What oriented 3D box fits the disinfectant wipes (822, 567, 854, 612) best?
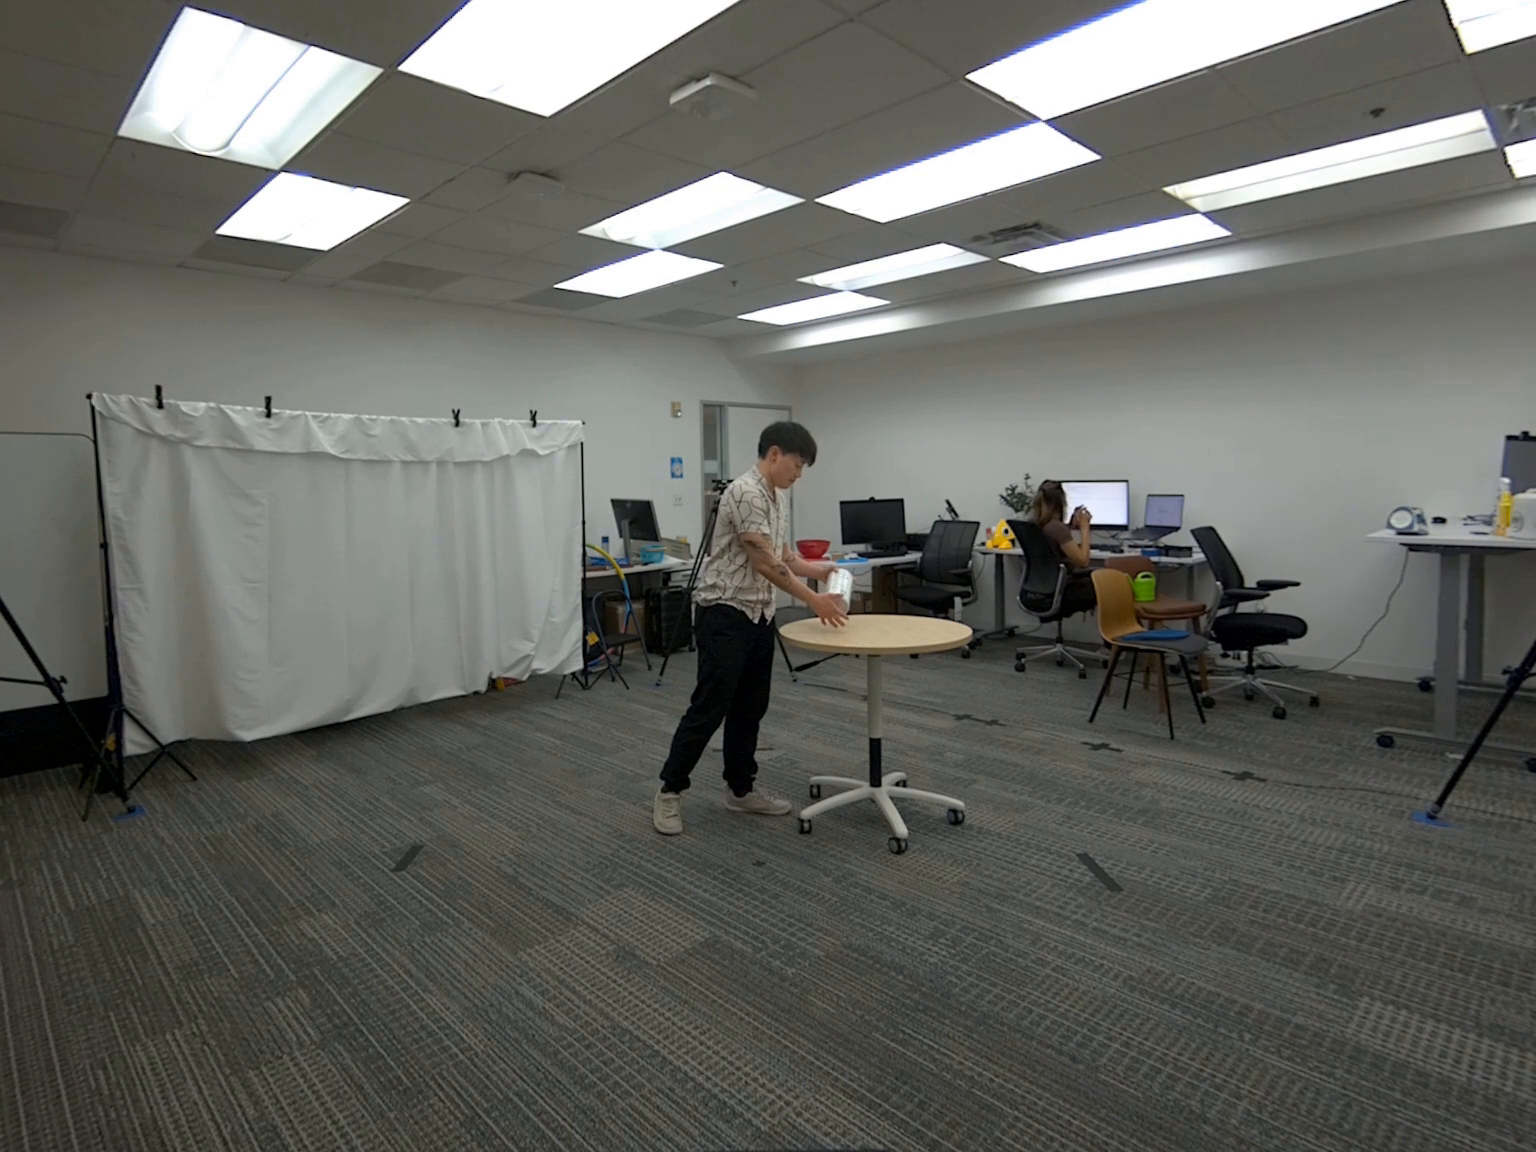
[{"bbox_3d":[0.288,0.069,3.499,0.120,0.114,0.221,0,39,16],"label":"disinfectant wipes"}]
